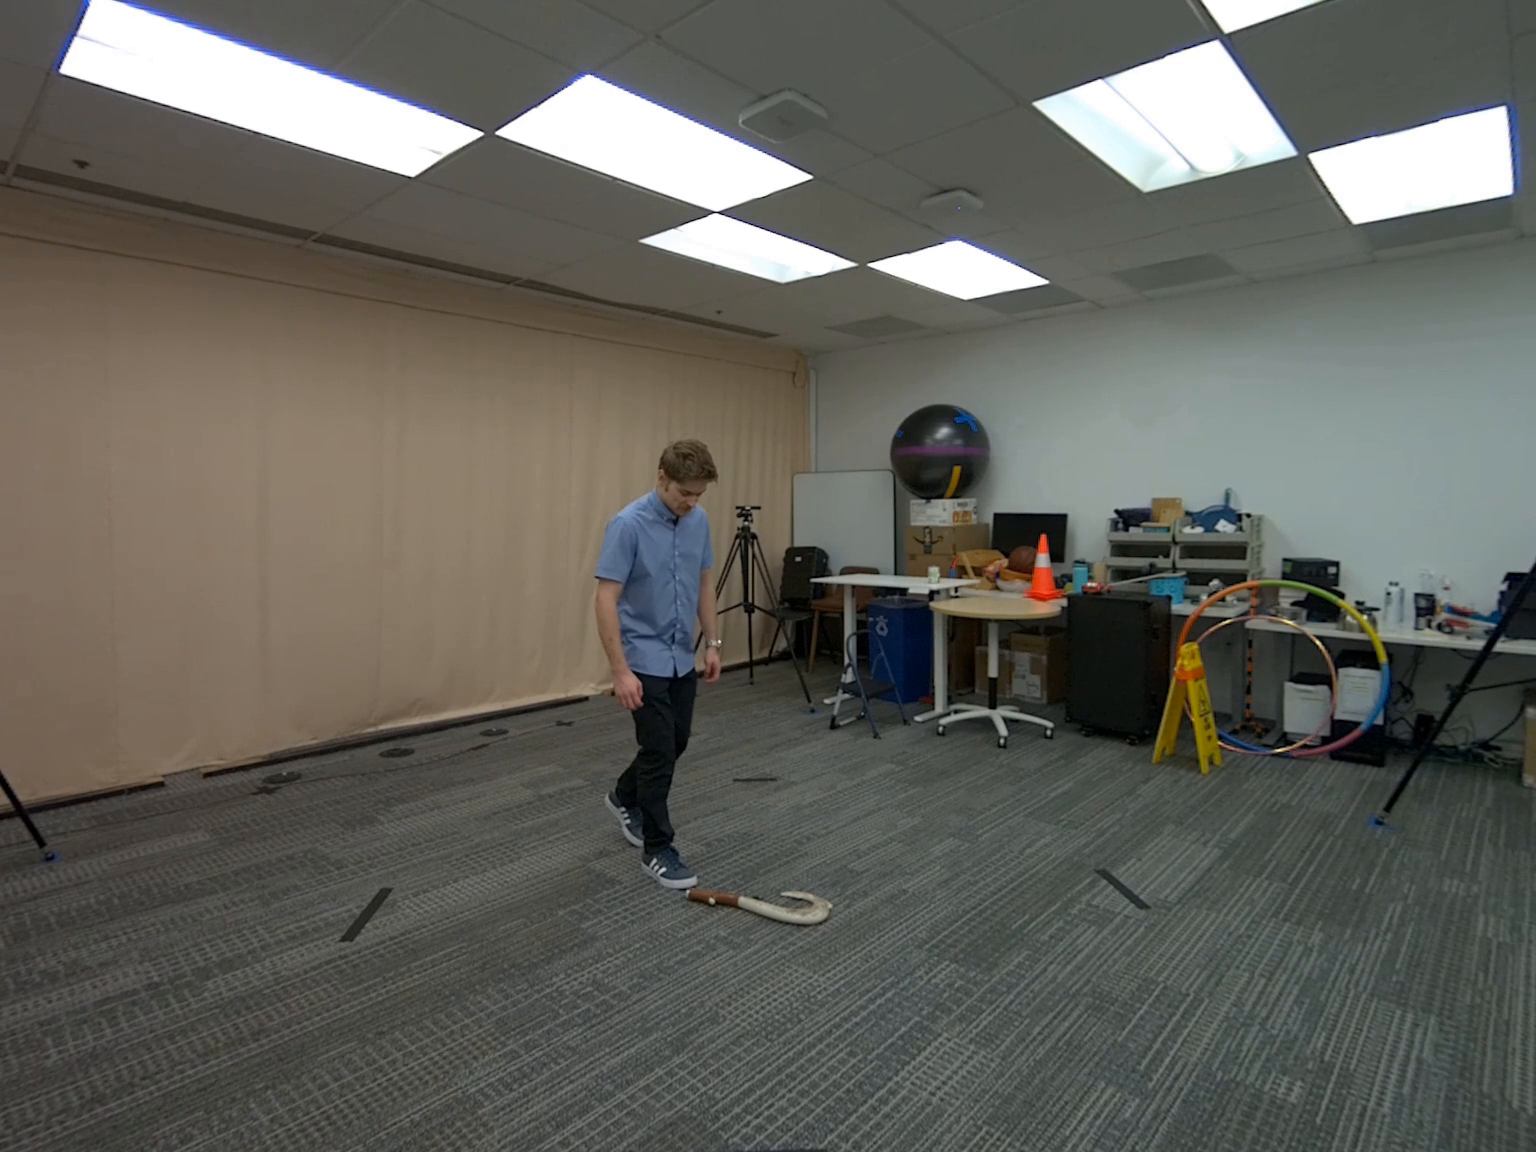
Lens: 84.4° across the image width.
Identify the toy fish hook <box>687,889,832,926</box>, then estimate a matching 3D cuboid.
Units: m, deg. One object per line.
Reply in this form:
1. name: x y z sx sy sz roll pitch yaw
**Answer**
1. toy fish hook: -0.036 1.135 2.940 0.518 0.048 0.219 2 -3 20
